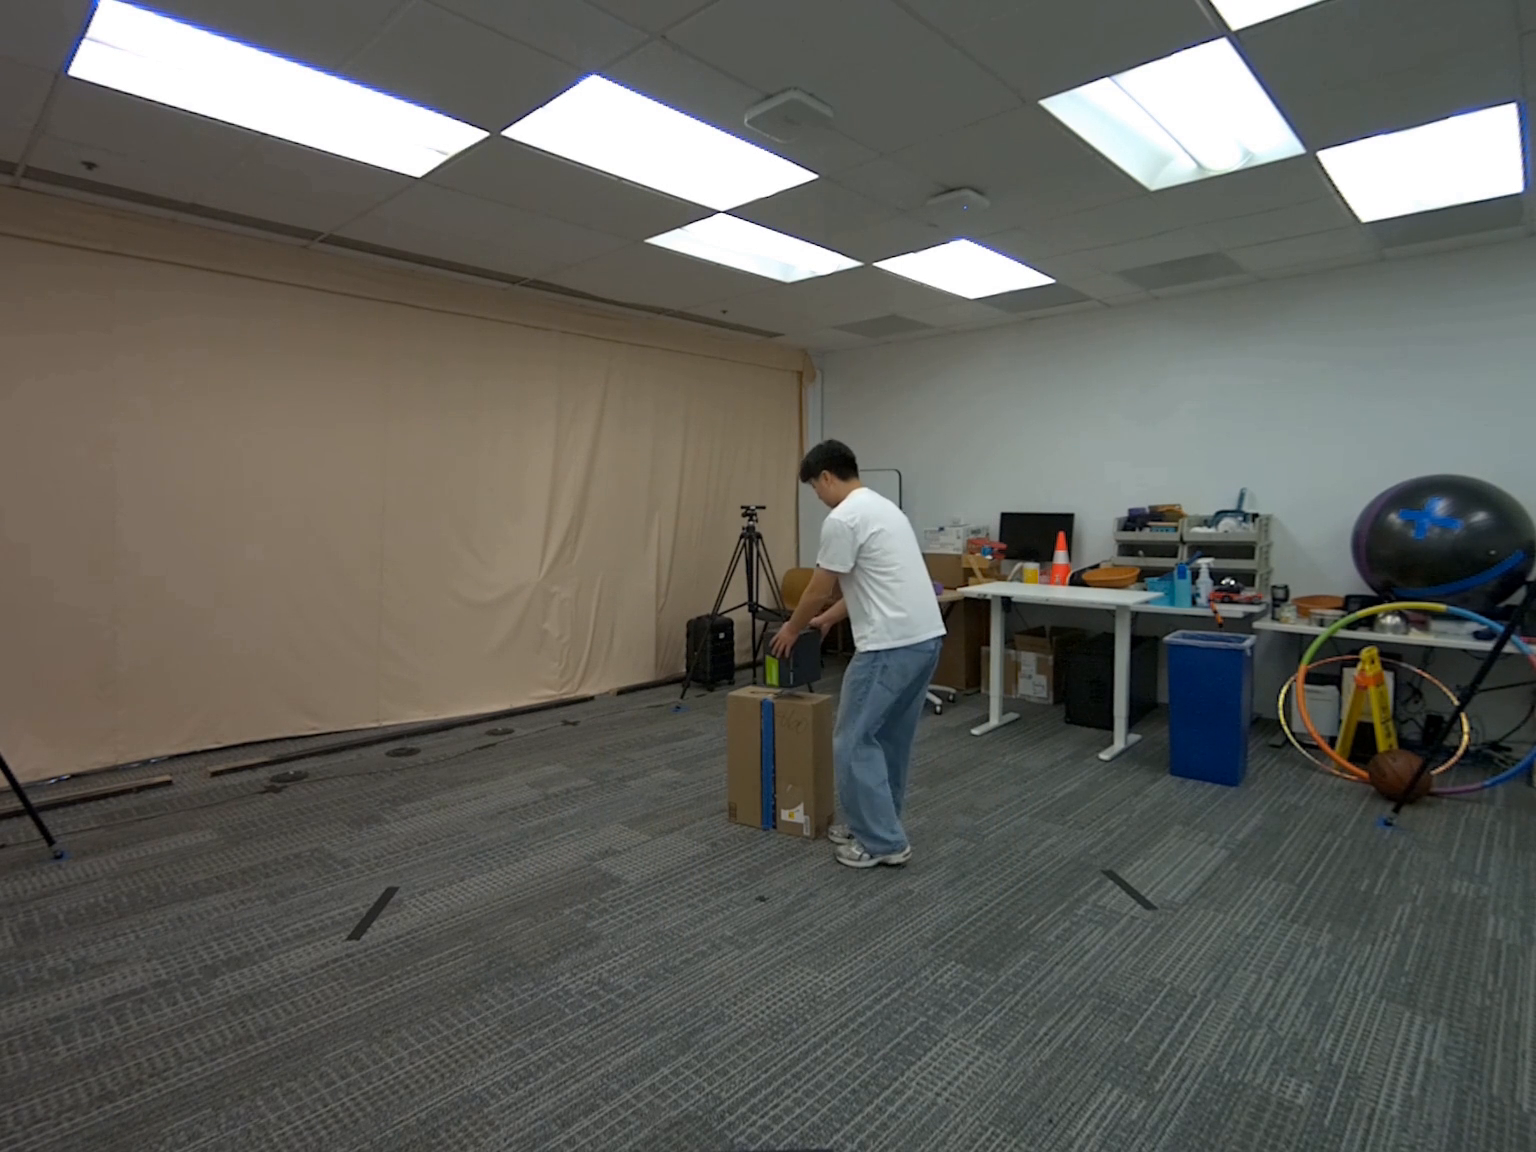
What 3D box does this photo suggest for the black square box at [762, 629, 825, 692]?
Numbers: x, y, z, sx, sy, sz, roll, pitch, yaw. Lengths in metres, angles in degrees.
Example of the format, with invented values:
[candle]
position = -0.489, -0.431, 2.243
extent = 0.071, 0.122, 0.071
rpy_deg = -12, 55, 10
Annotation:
[black square box]
position = 0.109, 0.350, 3.625
extent = 0.161, 0.227, 0.210
rpy_deg = 5, 5, 40
